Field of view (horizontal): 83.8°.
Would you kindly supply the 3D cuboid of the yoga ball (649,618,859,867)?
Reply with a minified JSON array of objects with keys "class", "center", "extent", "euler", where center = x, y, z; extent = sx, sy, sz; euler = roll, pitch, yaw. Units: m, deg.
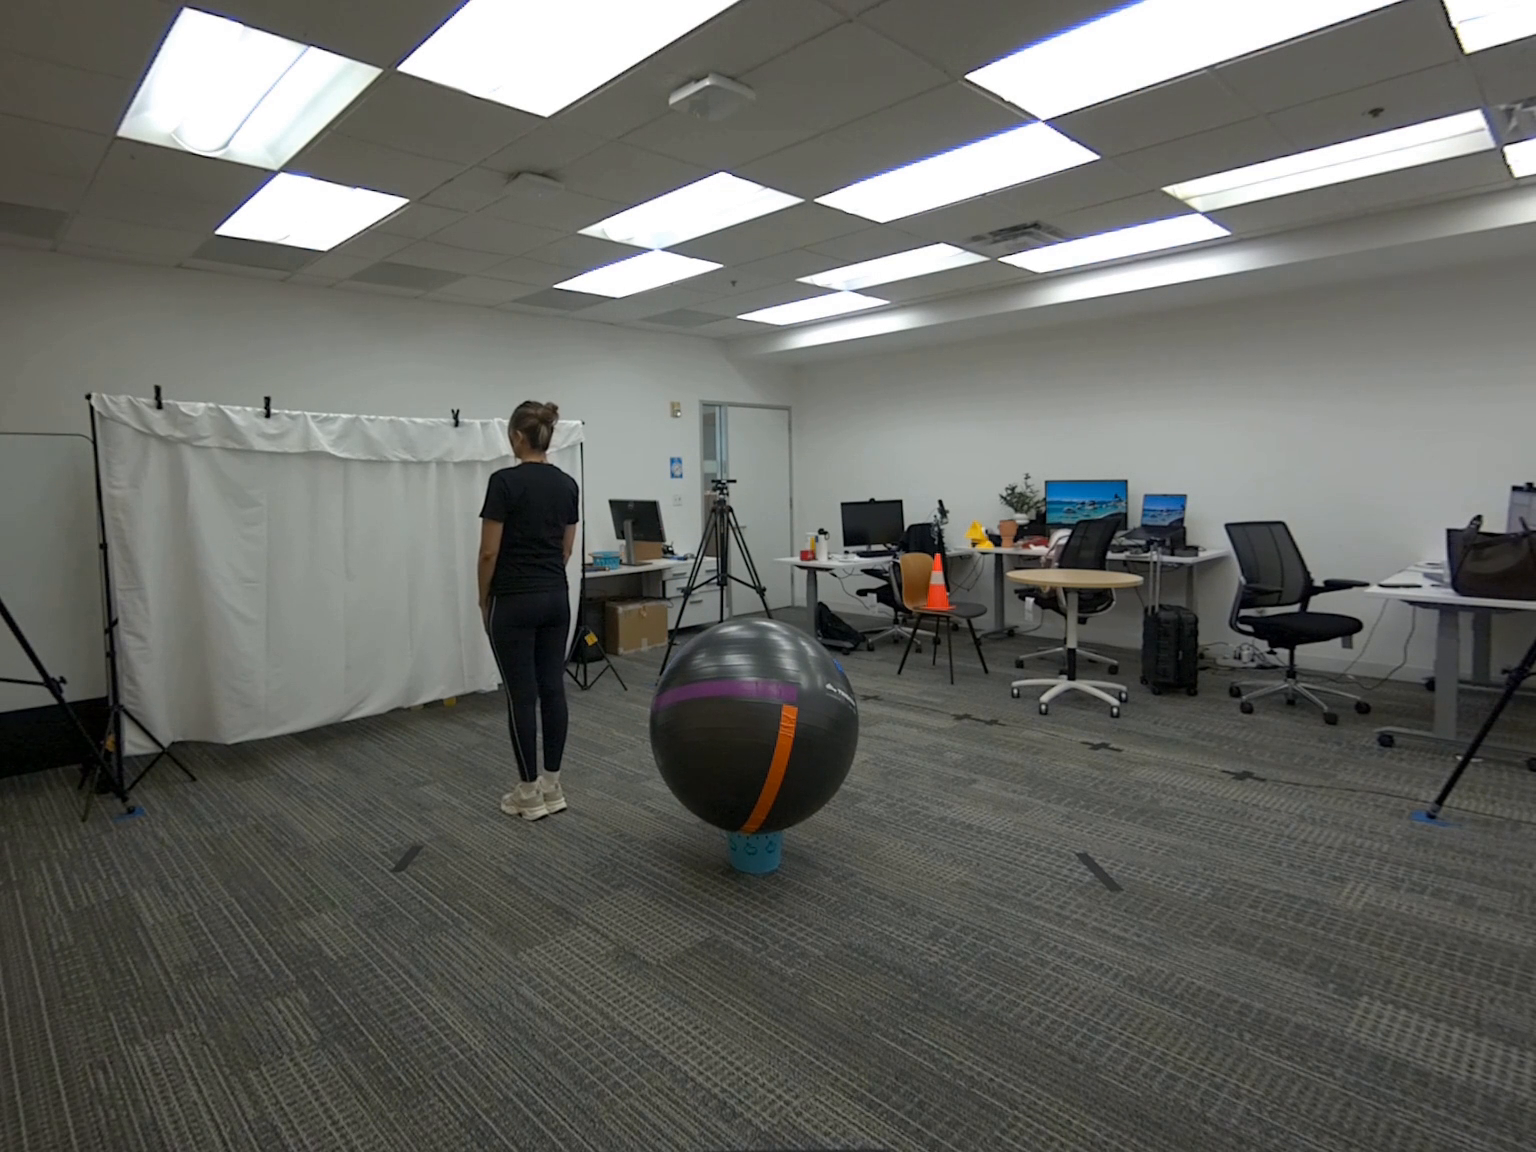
[{"class":"yoga ball","center":[-0.050,0.538,3.104],"extent":[0.757,0.755,0.762],"euler":[-1,5,-2]}]
